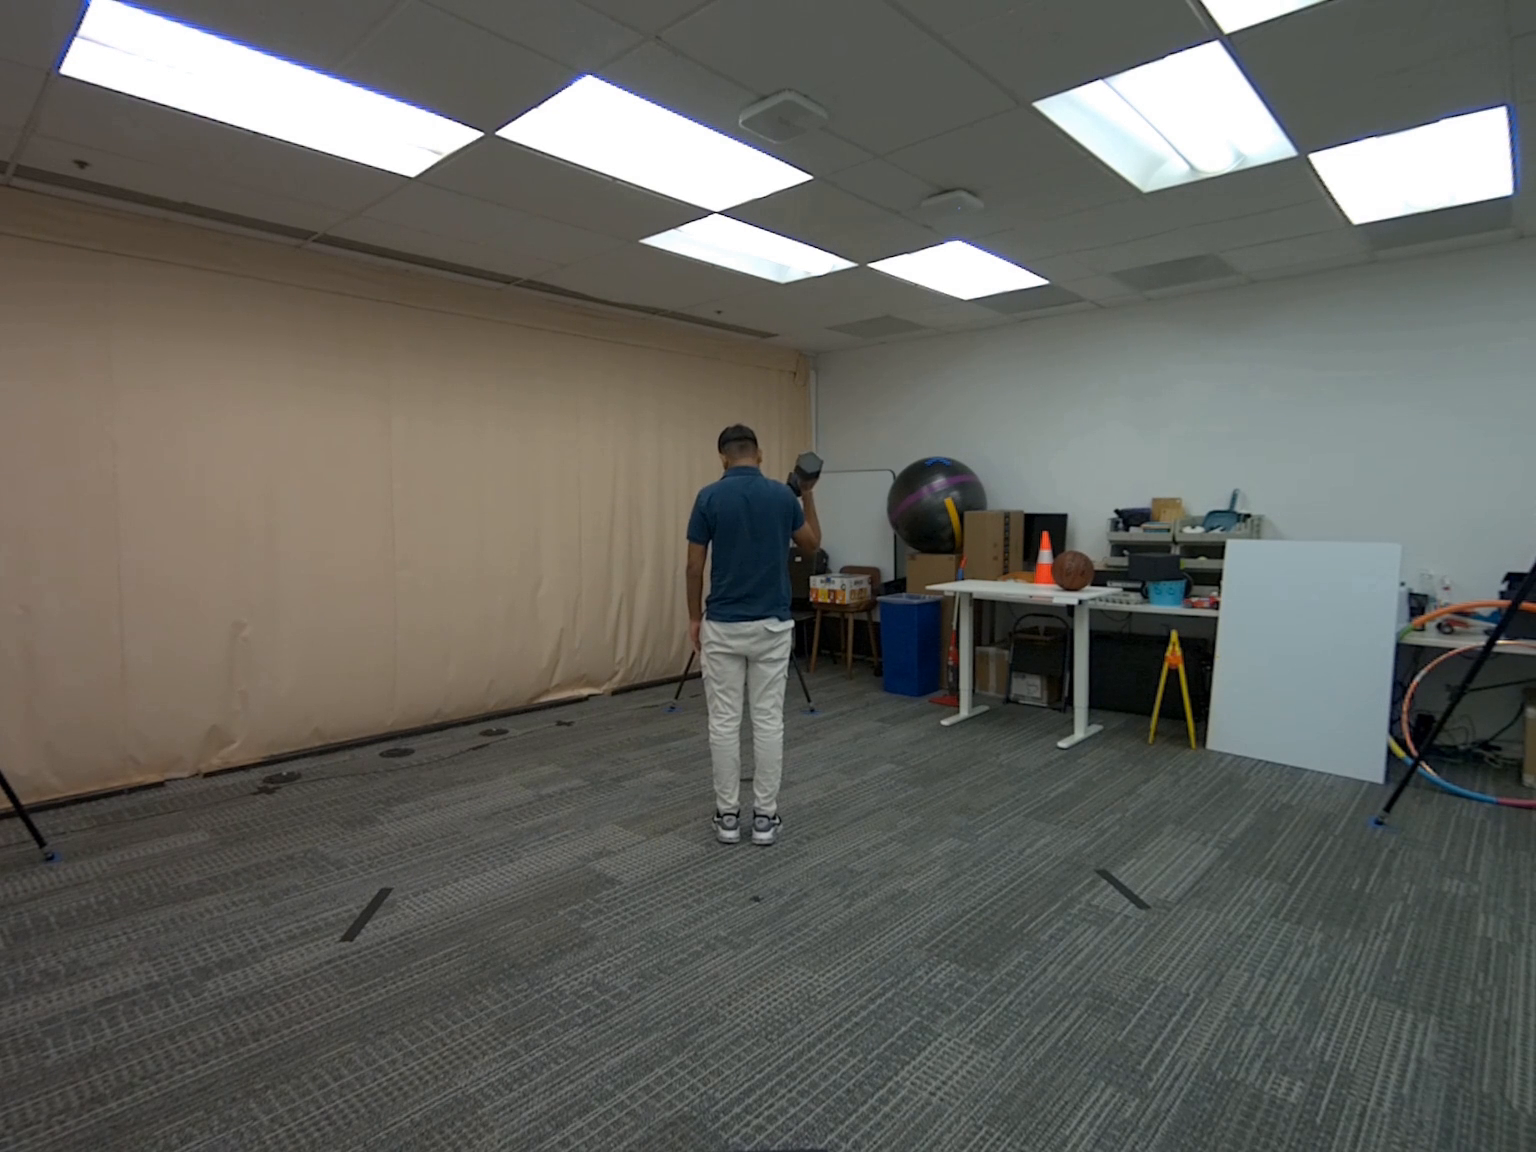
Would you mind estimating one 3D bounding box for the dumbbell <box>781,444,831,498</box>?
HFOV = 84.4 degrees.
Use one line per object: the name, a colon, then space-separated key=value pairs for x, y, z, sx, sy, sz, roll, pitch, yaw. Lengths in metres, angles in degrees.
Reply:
dumbbell: x=0.158 y=-0.447 z=3.647 sx=0.121 sy=0.110 sz=0.293 roll=-12 pitch=-13 yaw=-14
